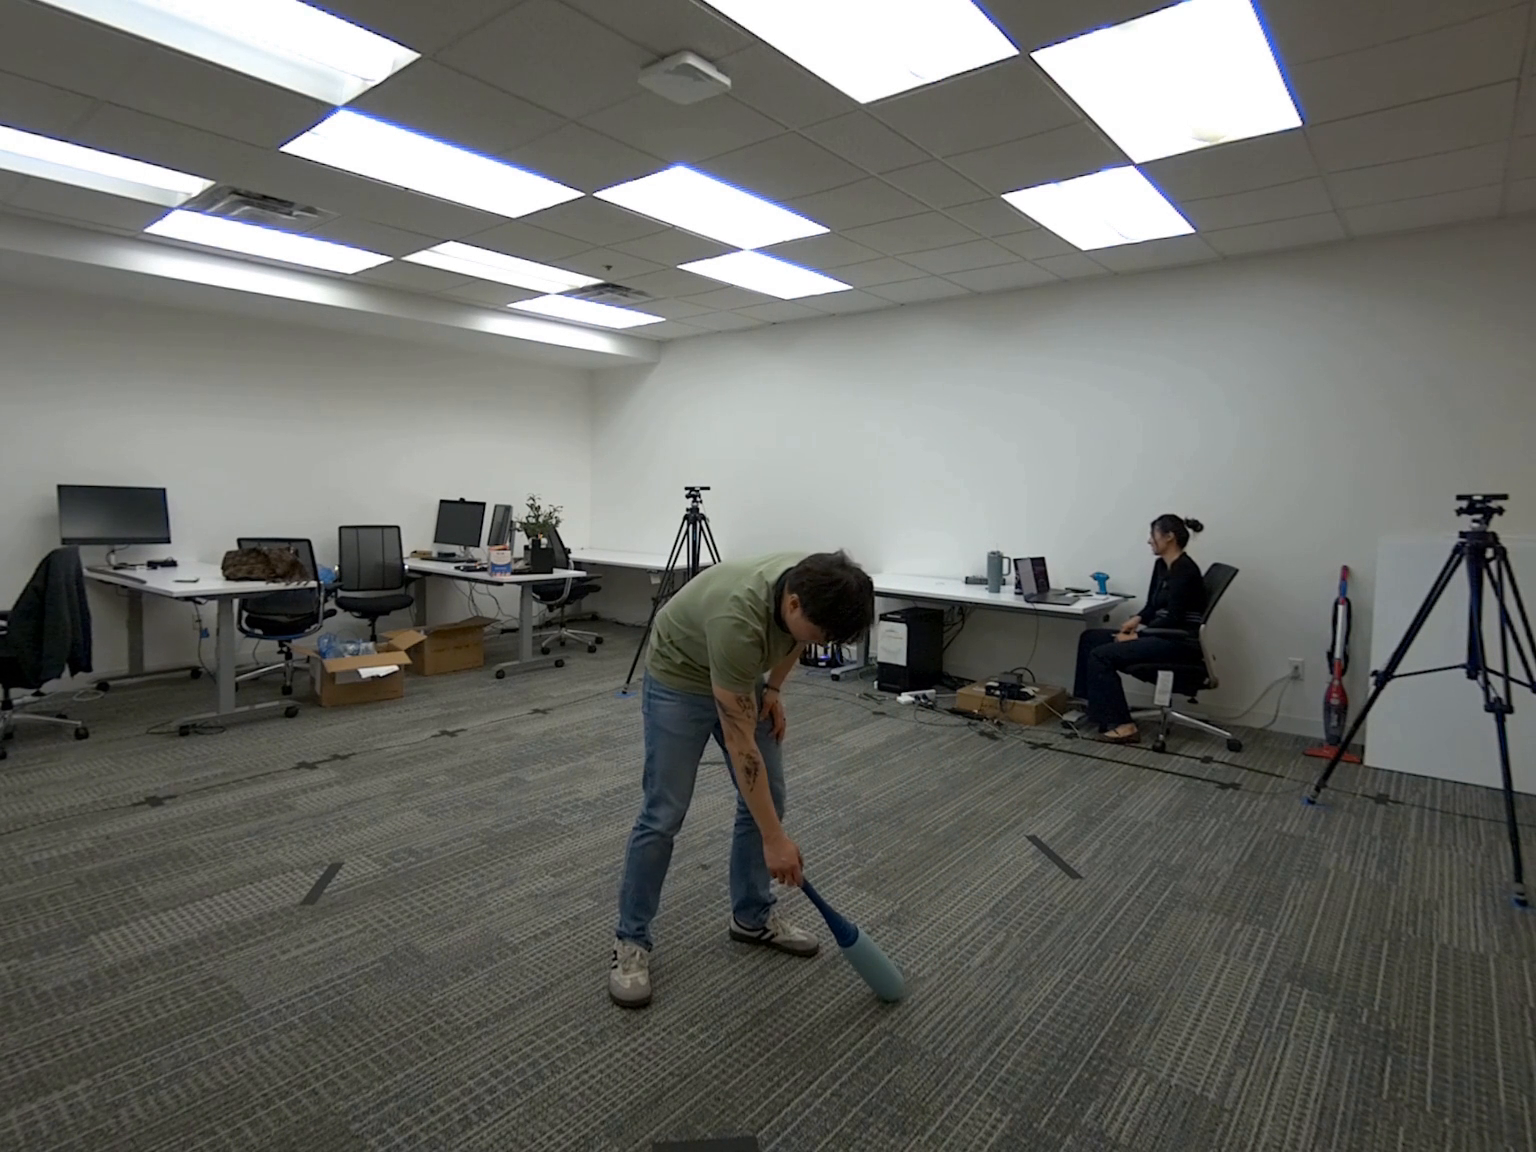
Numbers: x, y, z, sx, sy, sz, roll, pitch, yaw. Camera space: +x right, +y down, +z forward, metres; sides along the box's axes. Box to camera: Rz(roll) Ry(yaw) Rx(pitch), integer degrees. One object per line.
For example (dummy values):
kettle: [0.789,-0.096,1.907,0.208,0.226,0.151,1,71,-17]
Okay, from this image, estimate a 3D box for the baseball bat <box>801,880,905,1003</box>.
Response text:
baseball bat: [0.192,0.936,2.242,0.089,0.527,0.091,-31,22,14]
